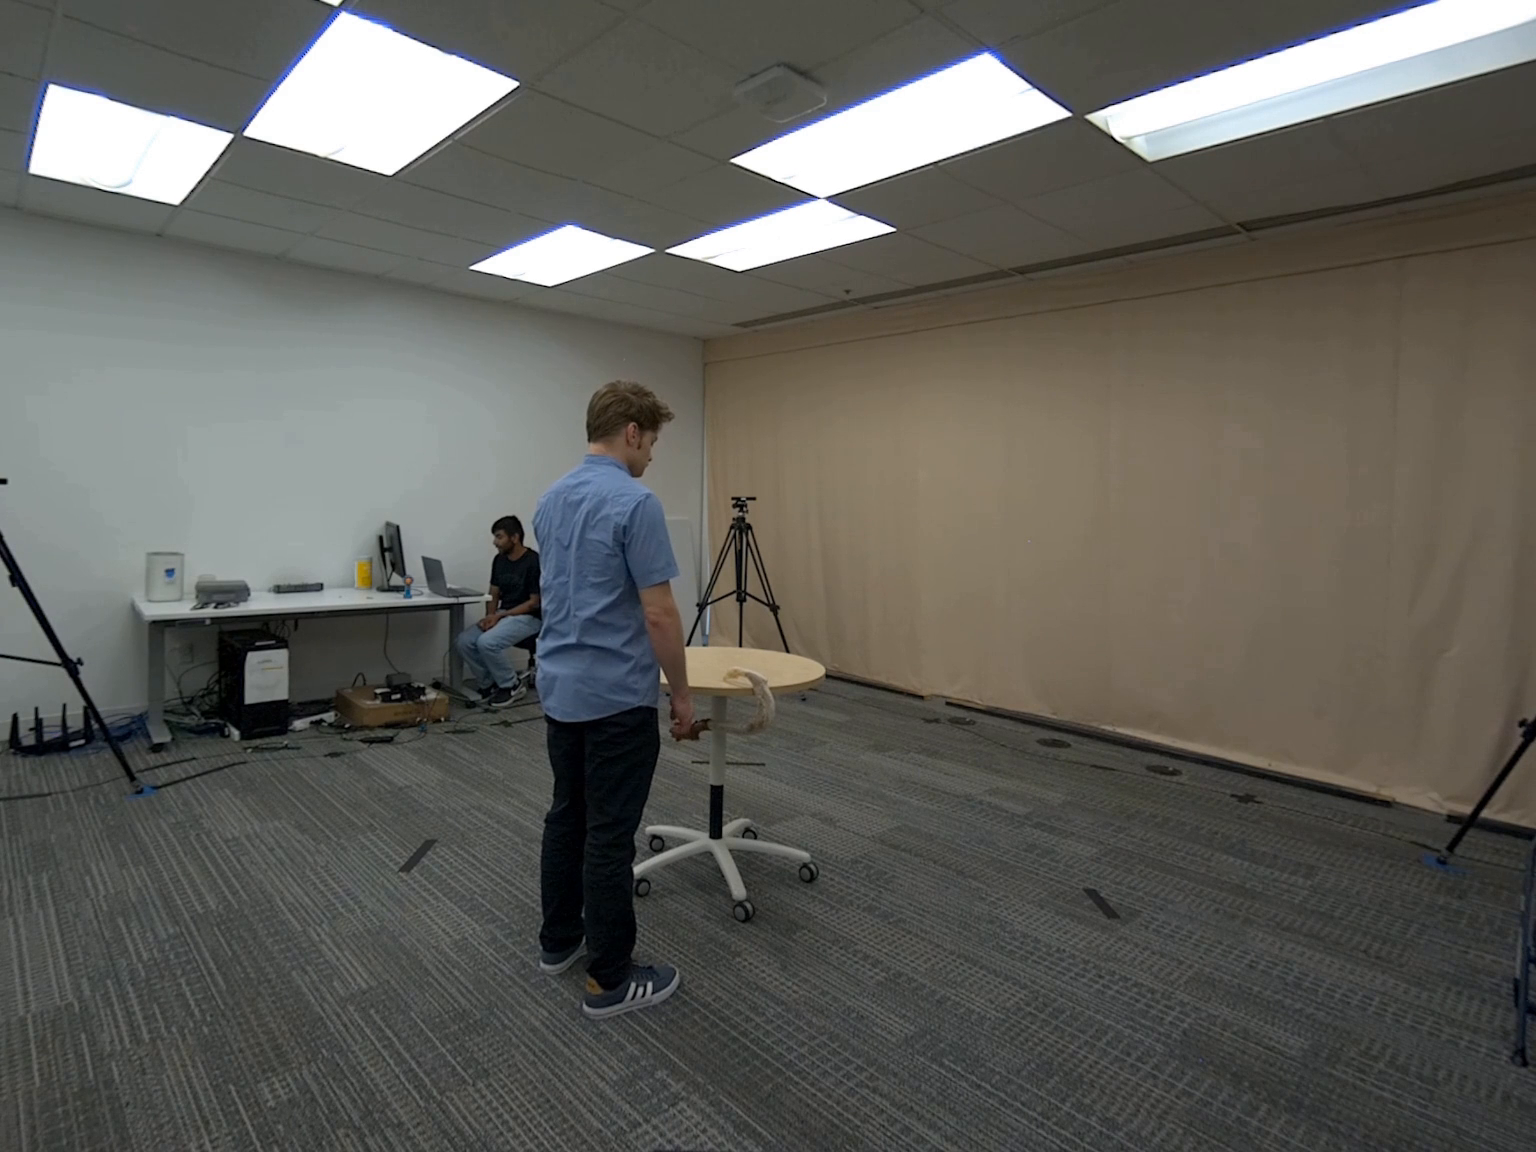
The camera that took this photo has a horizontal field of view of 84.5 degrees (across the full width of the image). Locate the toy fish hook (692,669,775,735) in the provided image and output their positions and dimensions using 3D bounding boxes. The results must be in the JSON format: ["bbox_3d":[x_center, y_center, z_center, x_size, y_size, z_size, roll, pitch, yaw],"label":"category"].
[{"bbox_3d":[-0.173,0.446,2.823,0.047,0.227,0.513,5,-20,-45],"label":"toy fish hook"}]
